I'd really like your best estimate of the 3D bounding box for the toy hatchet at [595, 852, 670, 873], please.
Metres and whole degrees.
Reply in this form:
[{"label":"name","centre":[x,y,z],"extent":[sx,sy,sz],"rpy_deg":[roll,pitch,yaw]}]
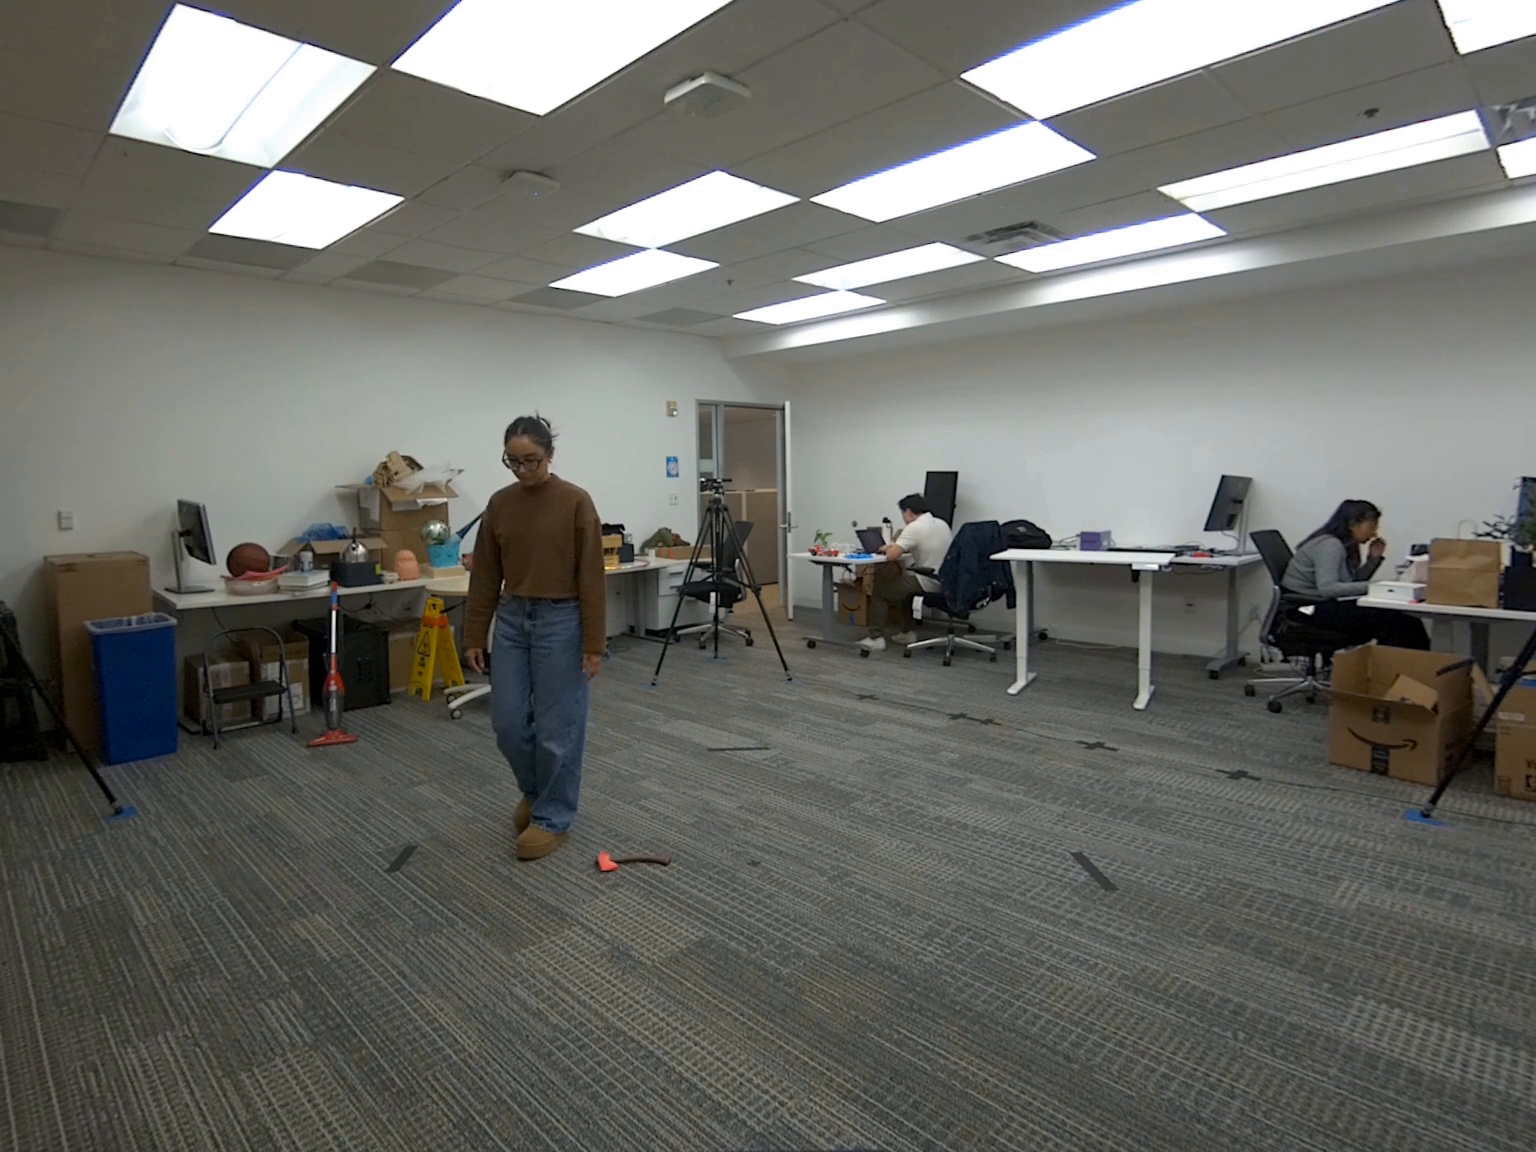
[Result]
[{"label":"toy hatchet","centre":[-0.493,1.042,3.091],"extent":[0.273,0.029,0.130],"rpy_deg":[2,7,10]}]
